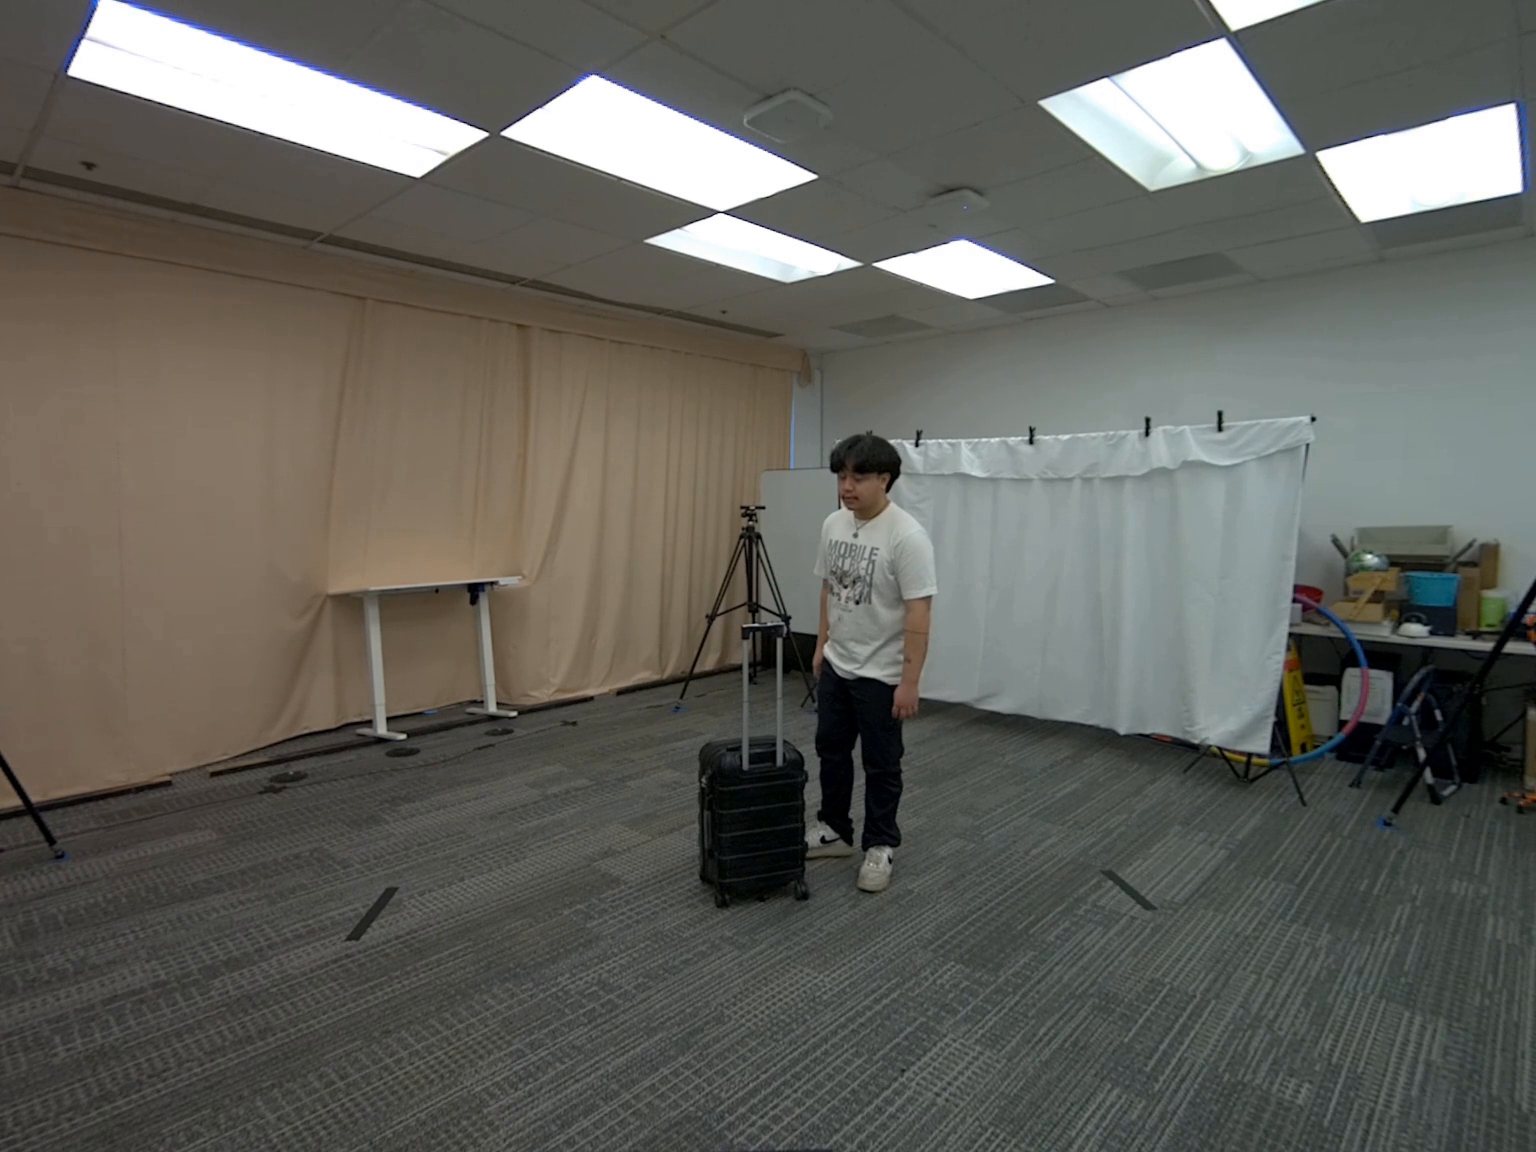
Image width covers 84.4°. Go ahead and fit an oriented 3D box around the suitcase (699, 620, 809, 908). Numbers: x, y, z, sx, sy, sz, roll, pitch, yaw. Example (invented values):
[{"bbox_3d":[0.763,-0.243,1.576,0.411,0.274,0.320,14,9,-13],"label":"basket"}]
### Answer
[{"bbox_3d":[-0.057,0.665,3.034,0.377,0.978,0.262,1,1,-17],"label":"suitcase"}]
